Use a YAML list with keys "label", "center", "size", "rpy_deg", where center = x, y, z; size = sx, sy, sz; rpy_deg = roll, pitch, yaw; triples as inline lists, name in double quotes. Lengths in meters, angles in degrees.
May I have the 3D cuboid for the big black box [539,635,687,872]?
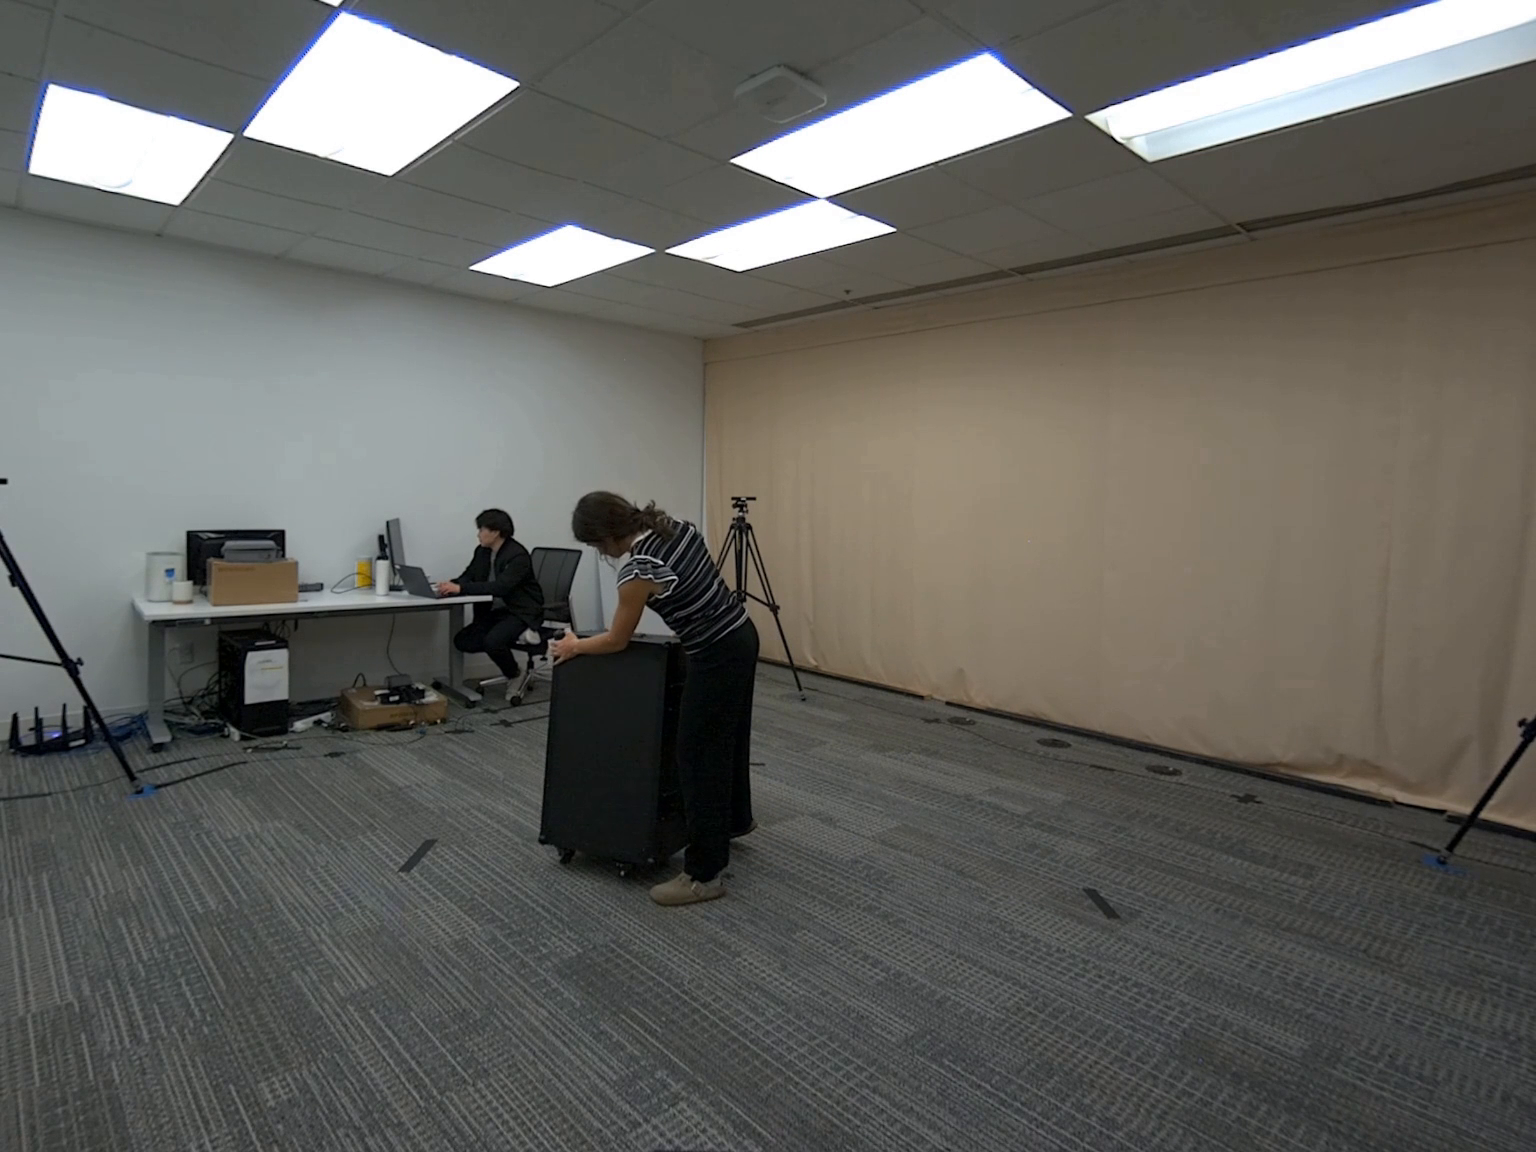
- label: "big black box"
  center: [-0.552, 0.657, 3.214]
  size: [0.530, 0.863, 0.388]
  rpy_deg: [3, -3, 22]
